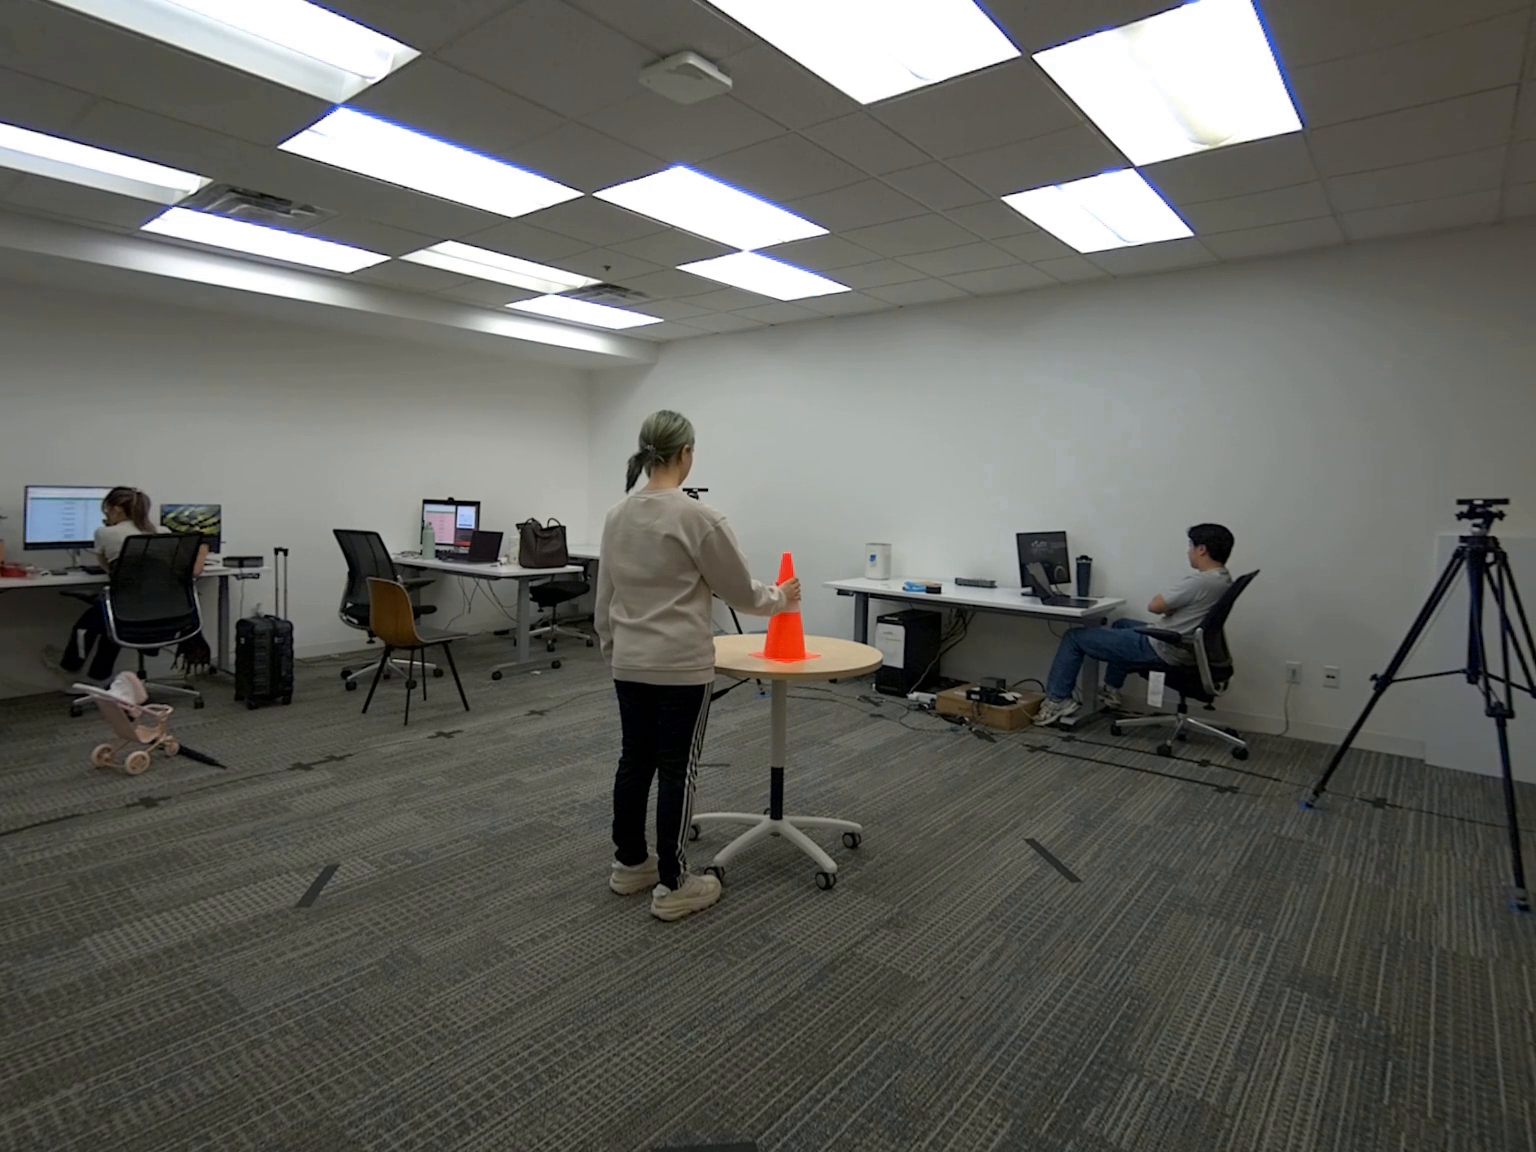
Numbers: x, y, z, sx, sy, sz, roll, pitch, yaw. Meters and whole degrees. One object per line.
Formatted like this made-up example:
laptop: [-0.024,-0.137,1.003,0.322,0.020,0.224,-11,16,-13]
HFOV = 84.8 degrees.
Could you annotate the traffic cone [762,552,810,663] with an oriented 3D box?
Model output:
traffic cone: [0.073,0.108,3.114,0.212,0.382,0.197,9,6,36]
